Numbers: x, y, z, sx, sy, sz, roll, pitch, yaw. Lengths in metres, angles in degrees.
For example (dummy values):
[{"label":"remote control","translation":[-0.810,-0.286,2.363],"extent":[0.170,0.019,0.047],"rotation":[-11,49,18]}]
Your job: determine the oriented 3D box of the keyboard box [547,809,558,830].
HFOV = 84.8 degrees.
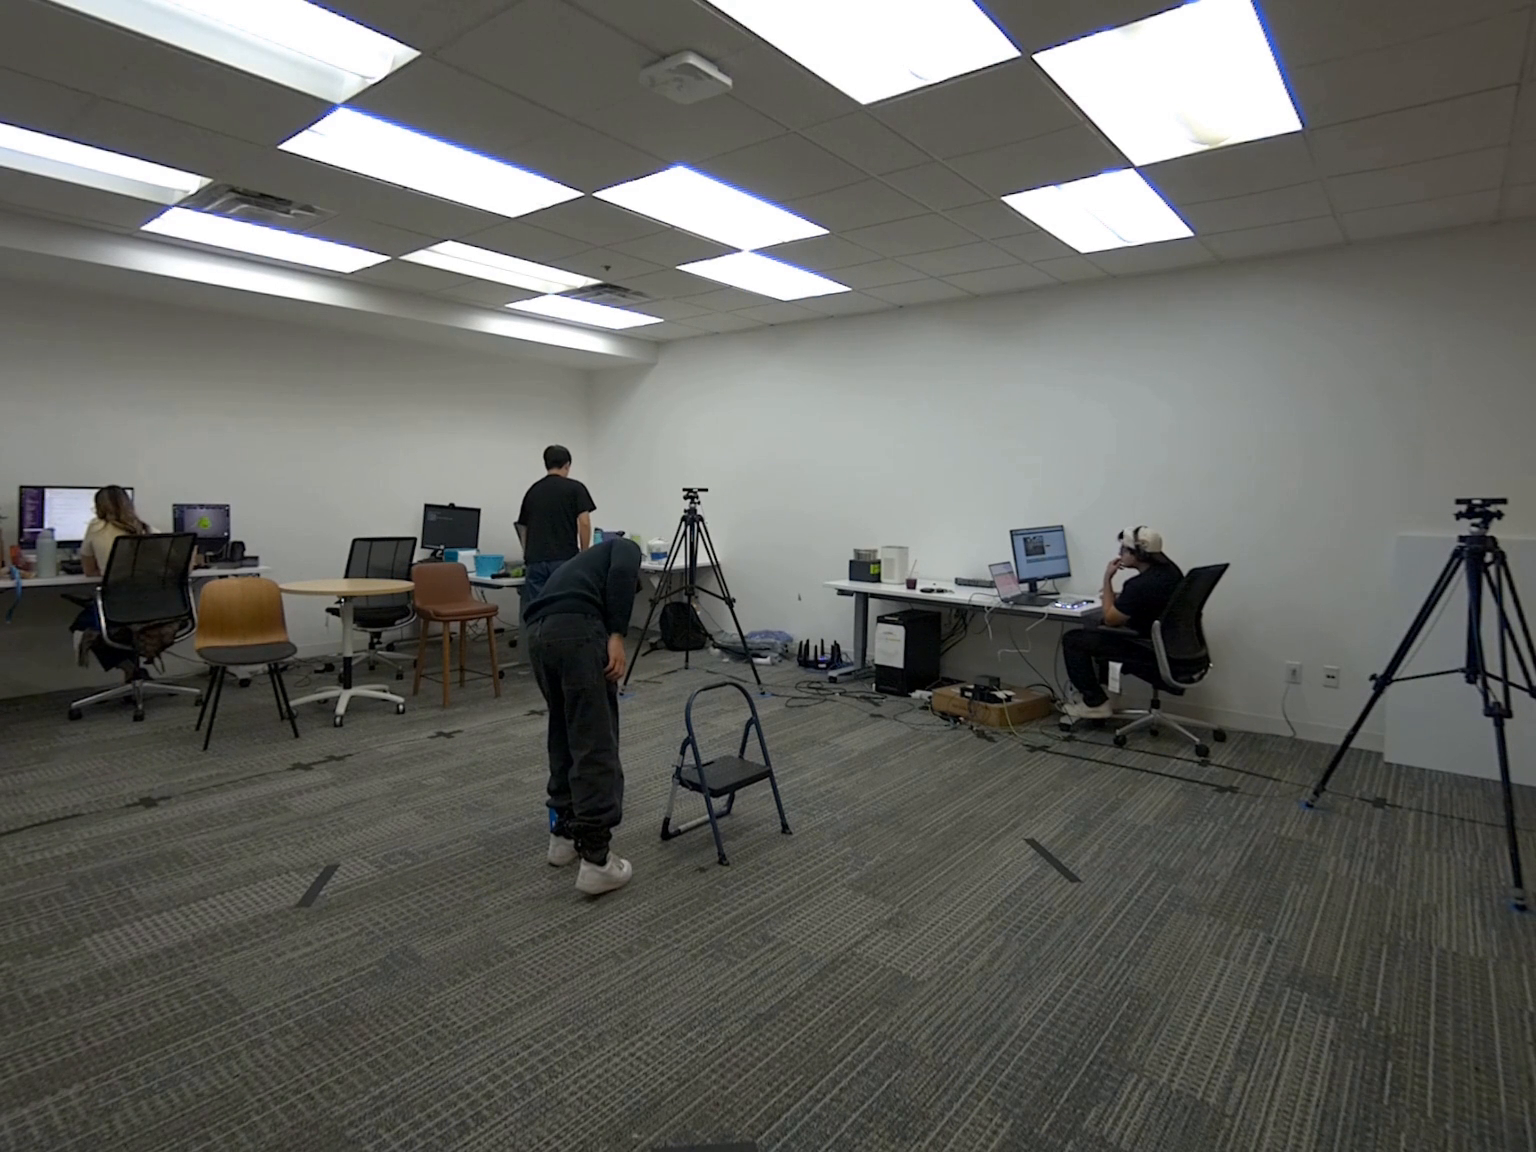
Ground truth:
[{"label":"keyboard box","translation":[-0.760,0.929,3.506],"extent":[0.060,0.176,0.428],"rotation":[-5,2,21]}]
